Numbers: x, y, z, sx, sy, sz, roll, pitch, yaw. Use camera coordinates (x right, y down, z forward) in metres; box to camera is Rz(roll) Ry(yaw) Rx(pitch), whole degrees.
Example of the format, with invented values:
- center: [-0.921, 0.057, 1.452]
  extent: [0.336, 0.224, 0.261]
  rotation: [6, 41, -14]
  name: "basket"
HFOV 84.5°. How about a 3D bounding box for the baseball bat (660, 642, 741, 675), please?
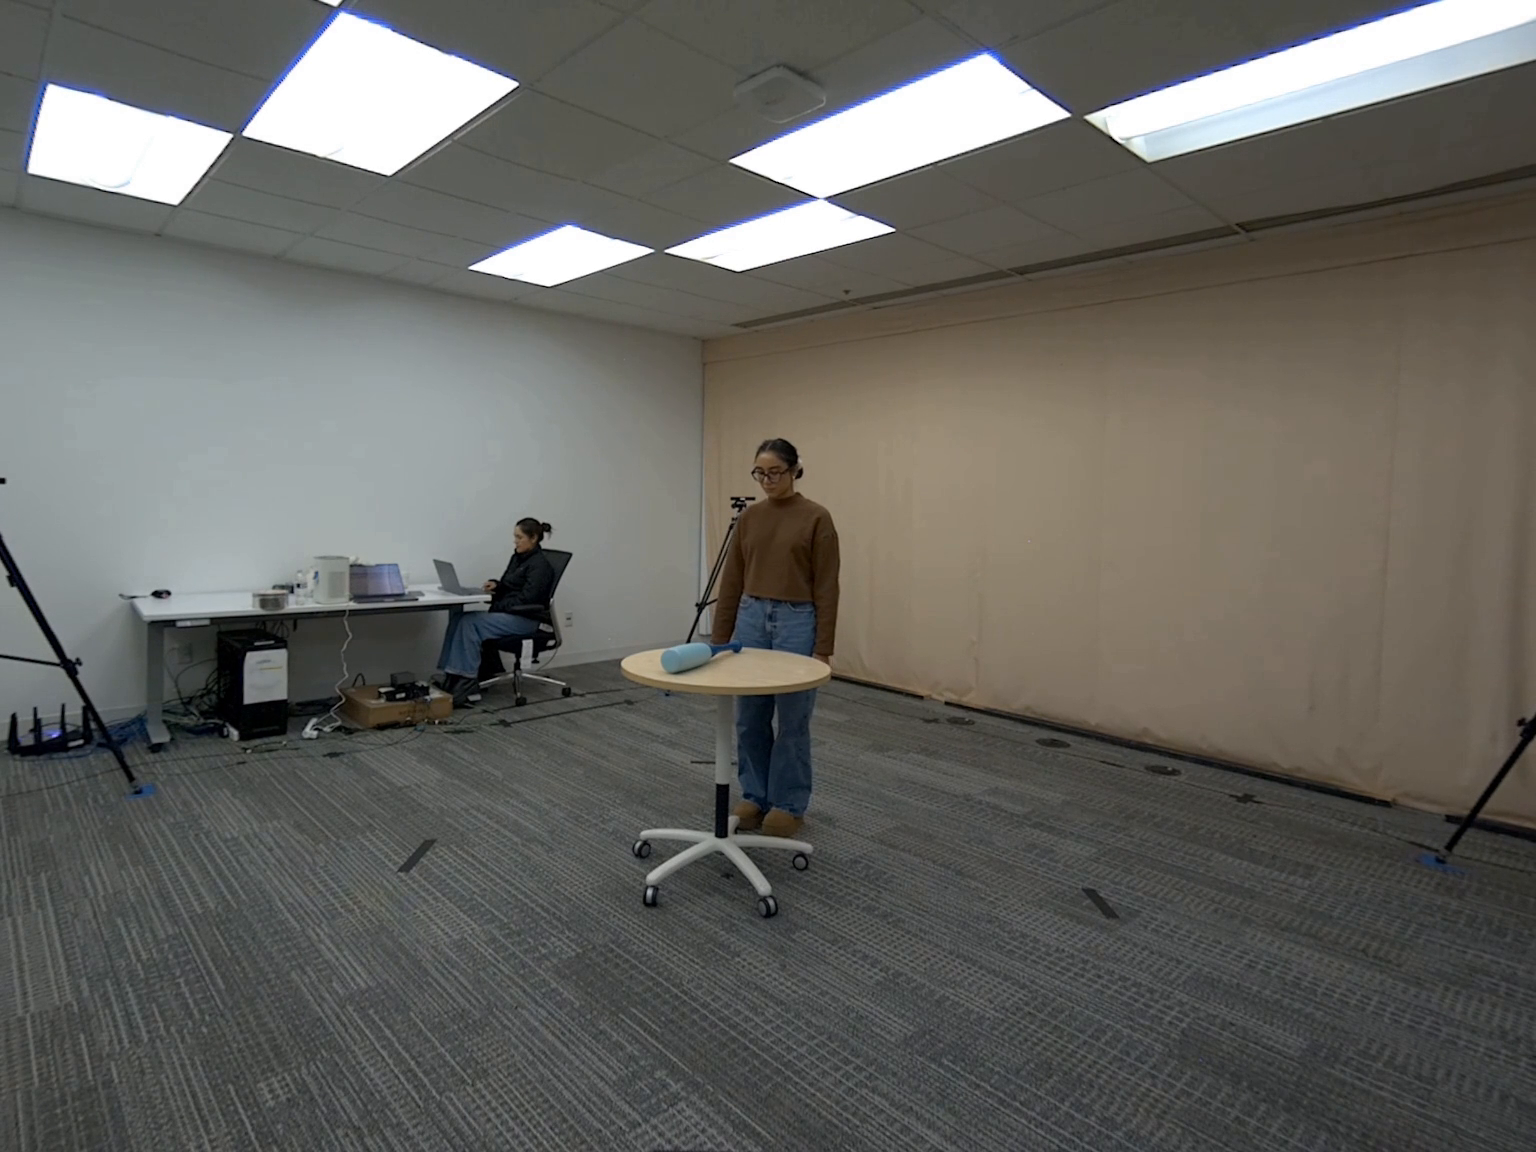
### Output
- center: [-0.233, 0.287, 3.105]
  extent: [0.090, 0.089, 0.534]
  rotation: [3, 2, 21]
  name: "baseball bat"
